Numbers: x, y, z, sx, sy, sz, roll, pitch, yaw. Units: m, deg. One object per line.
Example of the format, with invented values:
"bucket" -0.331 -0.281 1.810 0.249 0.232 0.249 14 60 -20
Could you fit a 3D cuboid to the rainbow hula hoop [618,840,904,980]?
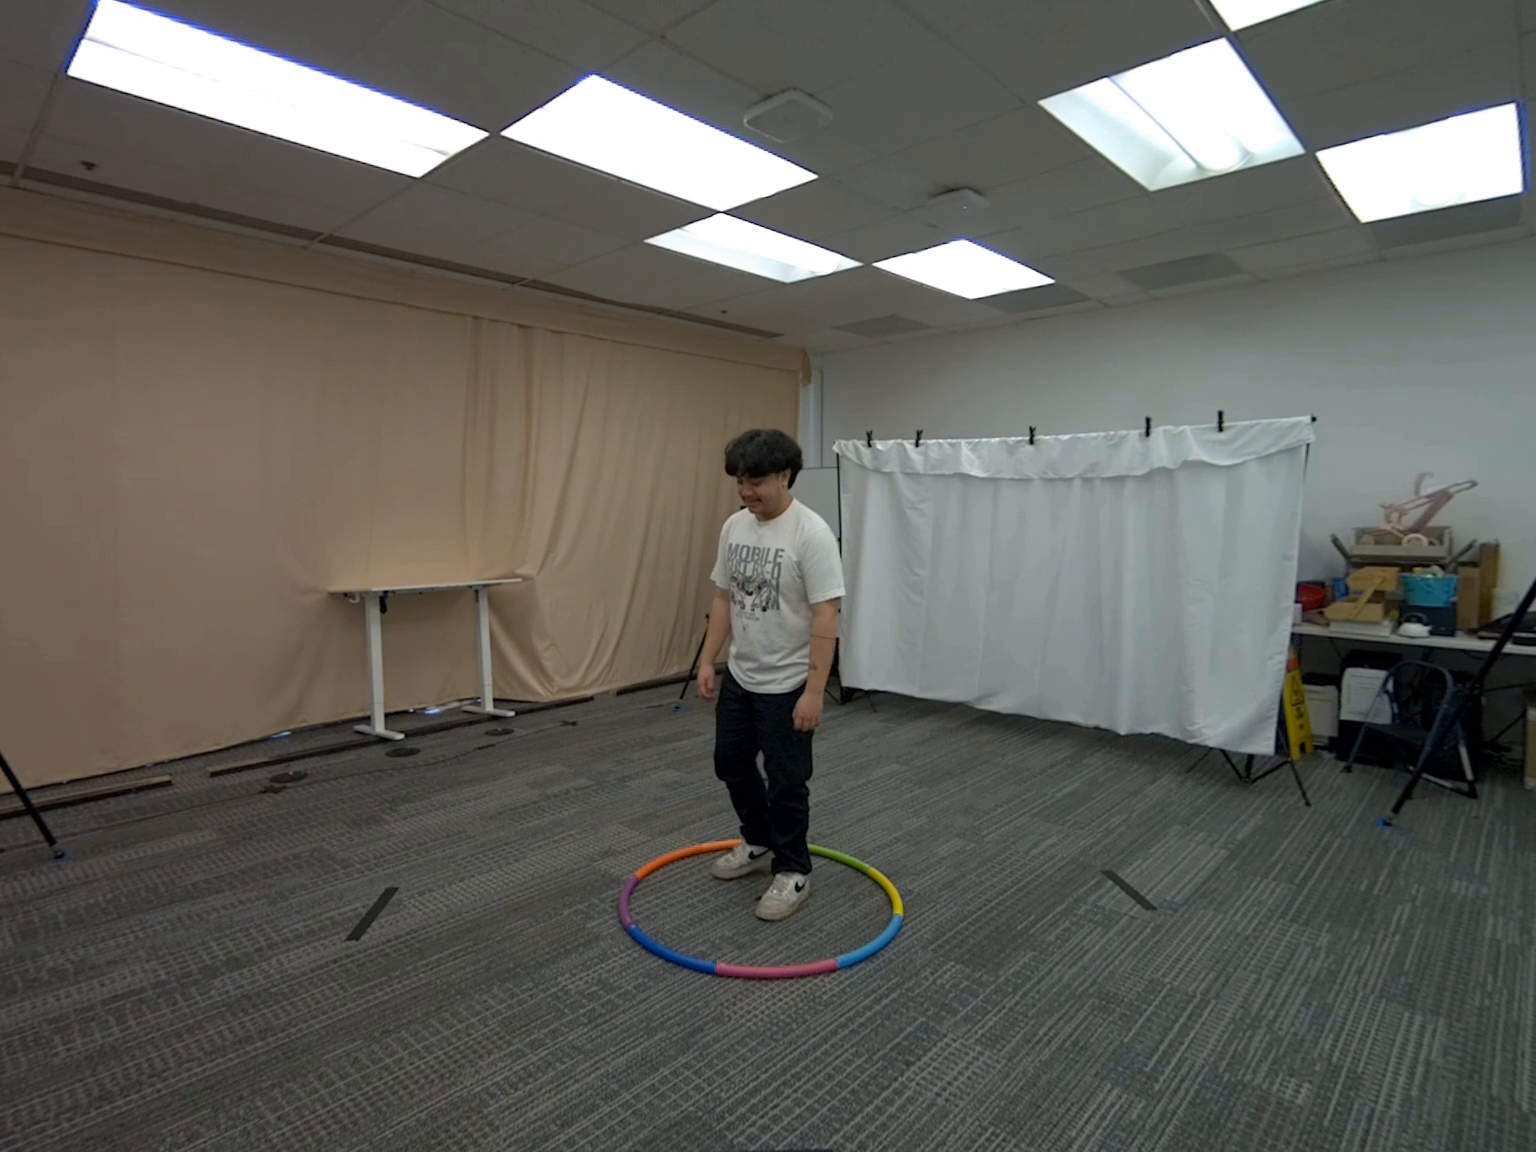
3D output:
"rainbow hula hoop" -0.027 1.124 2.954 0.985 0.051 0.989 0 5 -2
